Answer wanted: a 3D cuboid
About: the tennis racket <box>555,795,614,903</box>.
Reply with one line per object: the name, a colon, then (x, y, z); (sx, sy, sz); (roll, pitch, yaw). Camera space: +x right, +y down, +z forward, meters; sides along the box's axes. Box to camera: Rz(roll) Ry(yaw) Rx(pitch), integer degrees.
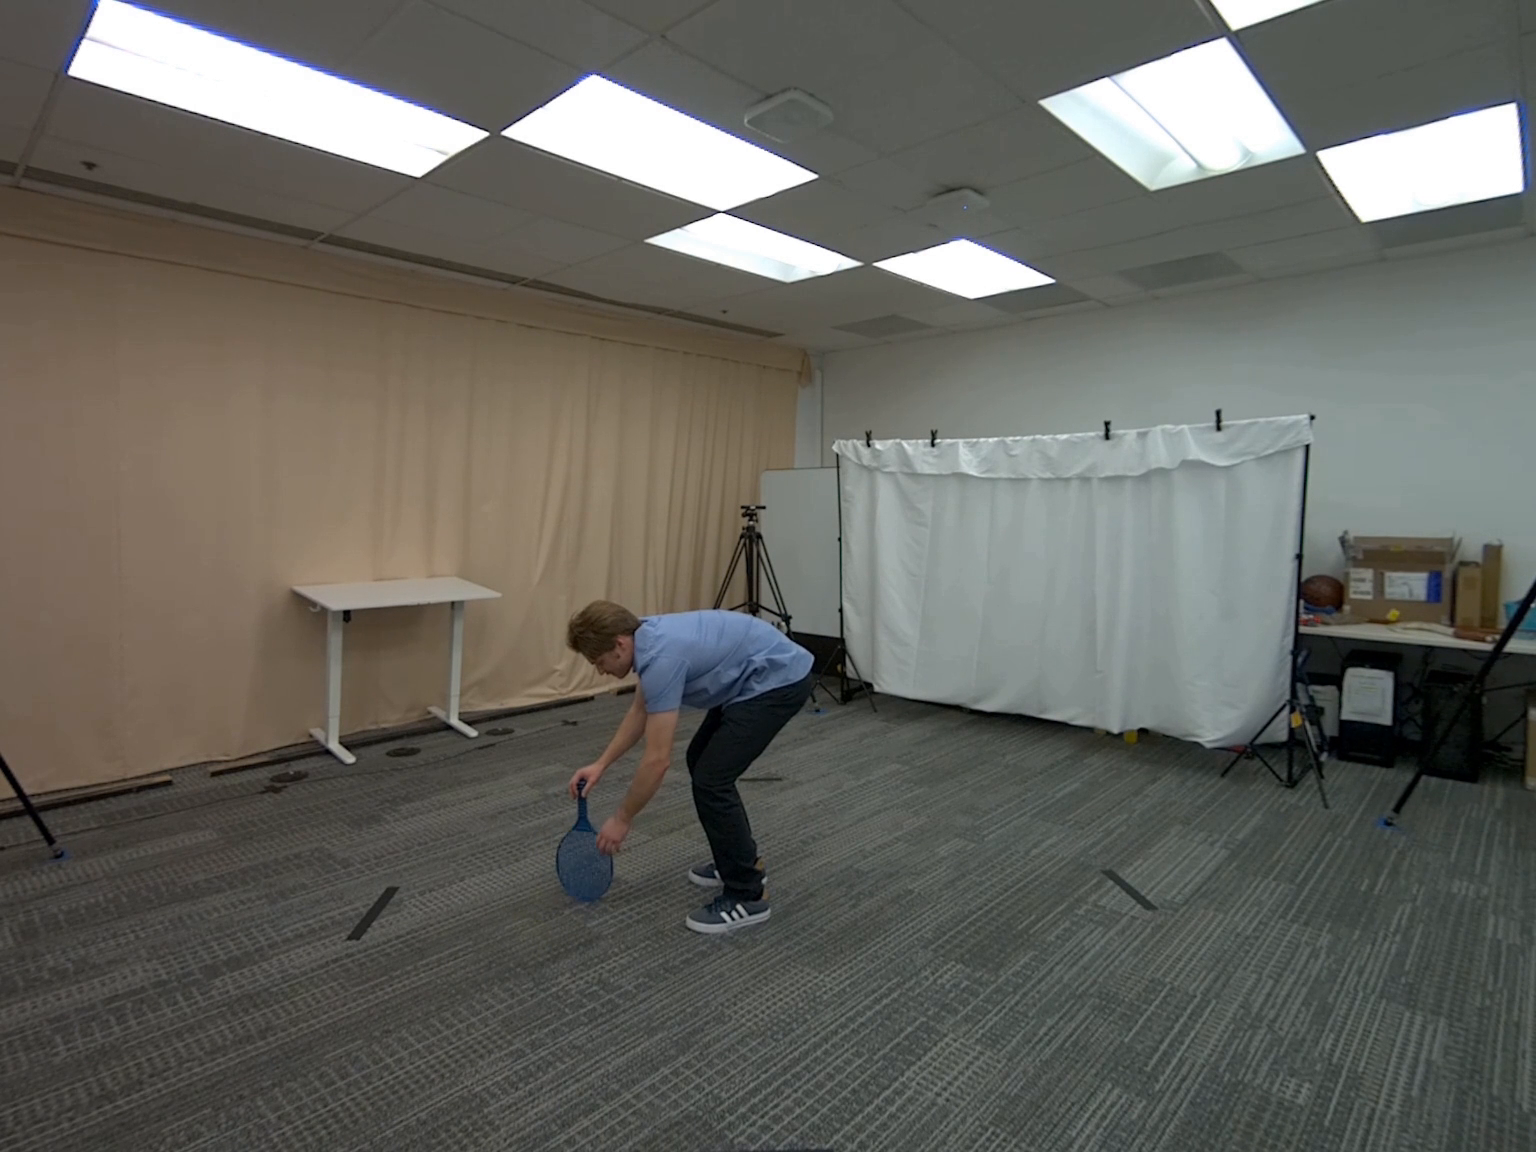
tennis racket: (-0.642, 0.936, 2.961); (0.217, 0.432, 0.031); (0, 4, 14)
